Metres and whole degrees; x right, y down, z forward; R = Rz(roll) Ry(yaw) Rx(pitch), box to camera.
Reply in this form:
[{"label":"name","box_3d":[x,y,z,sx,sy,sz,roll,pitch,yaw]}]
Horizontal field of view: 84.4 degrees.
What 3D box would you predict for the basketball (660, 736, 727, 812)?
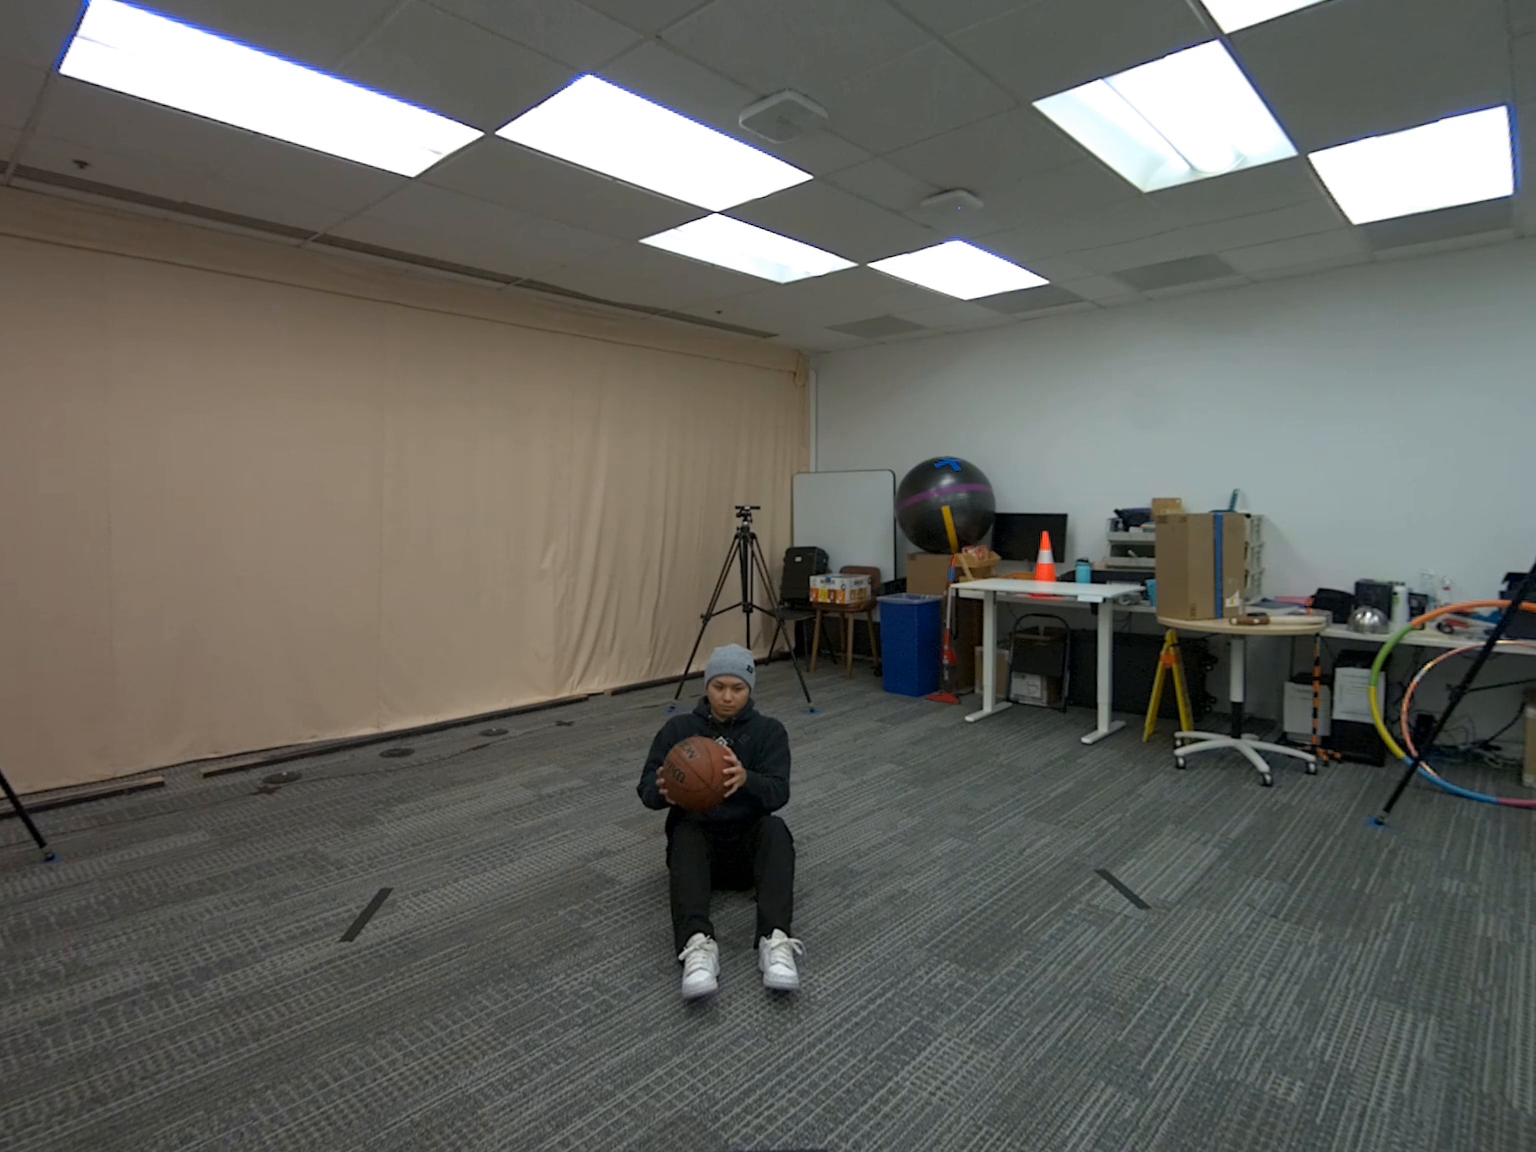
[{"label":"basketball","box_3d":[-0.237,0.656,2.806,0.236,0.235,0.237,0,4,-2]}]
